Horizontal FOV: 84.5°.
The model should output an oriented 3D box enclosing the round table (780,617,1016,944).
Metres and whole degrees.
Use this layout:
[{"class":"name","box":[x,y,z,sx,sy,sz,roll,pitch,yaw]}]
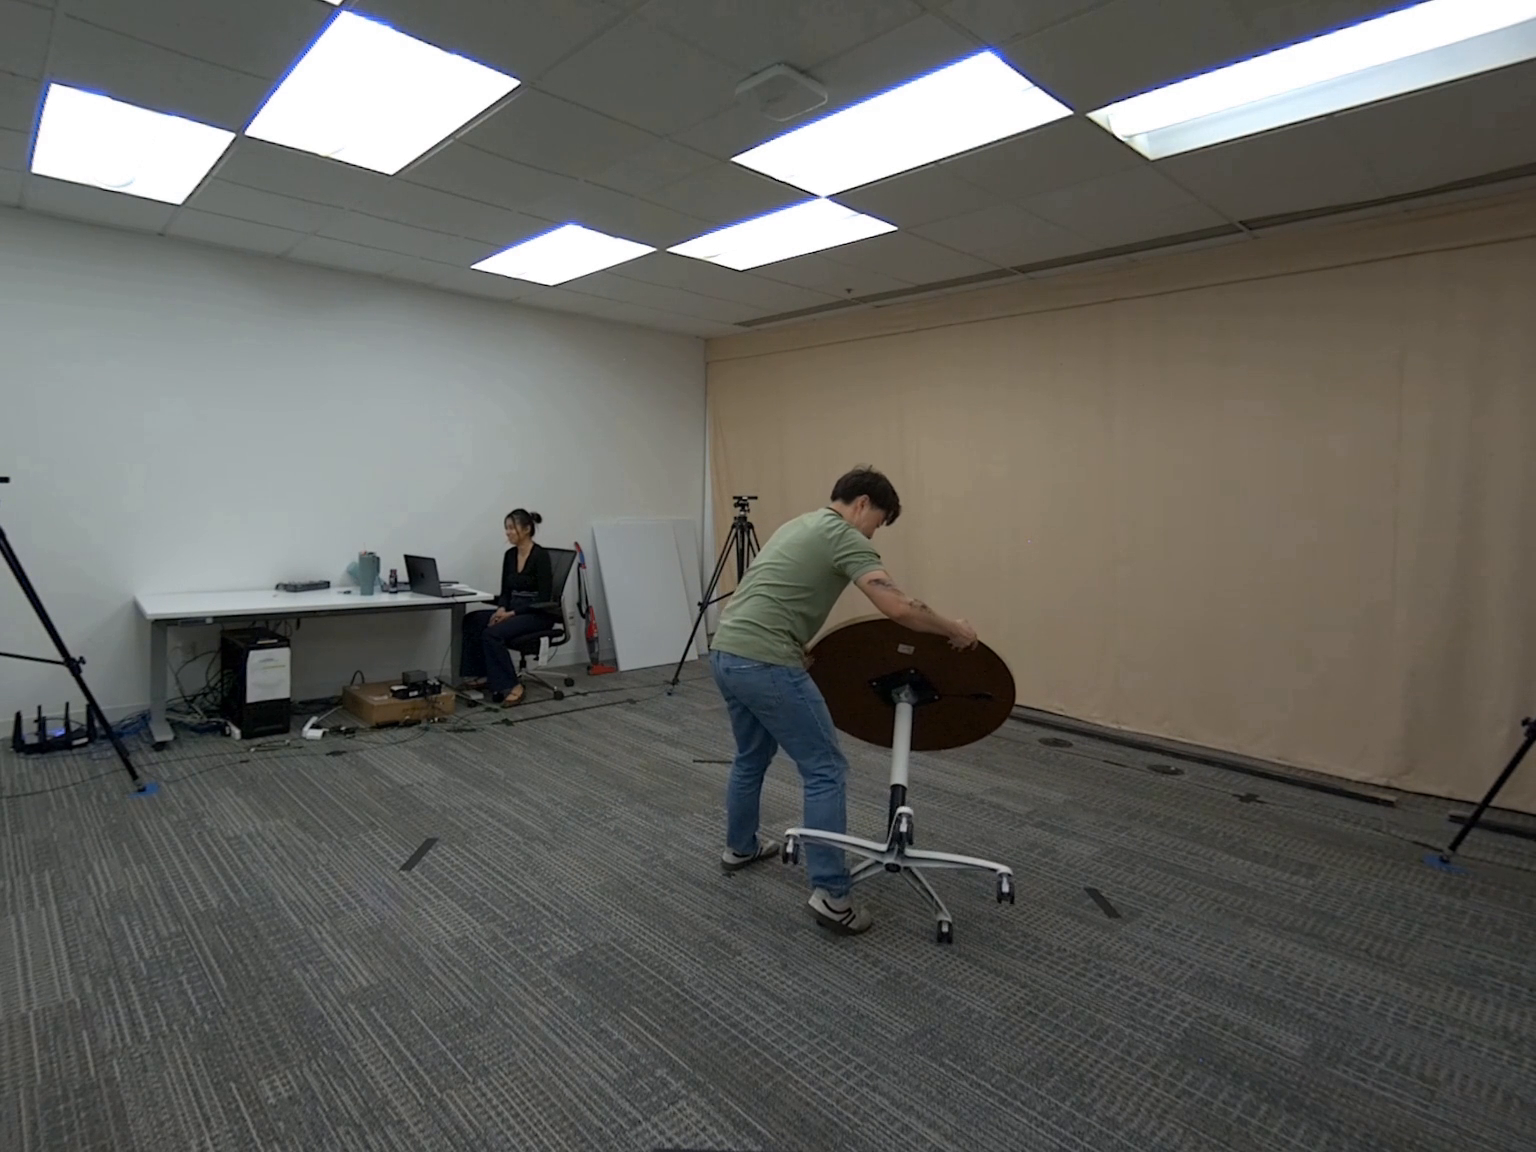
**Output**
[{"class":"round table","box":[0.431,0.679,2.798,0.773,0.744,0.805,2,44,14]}]
